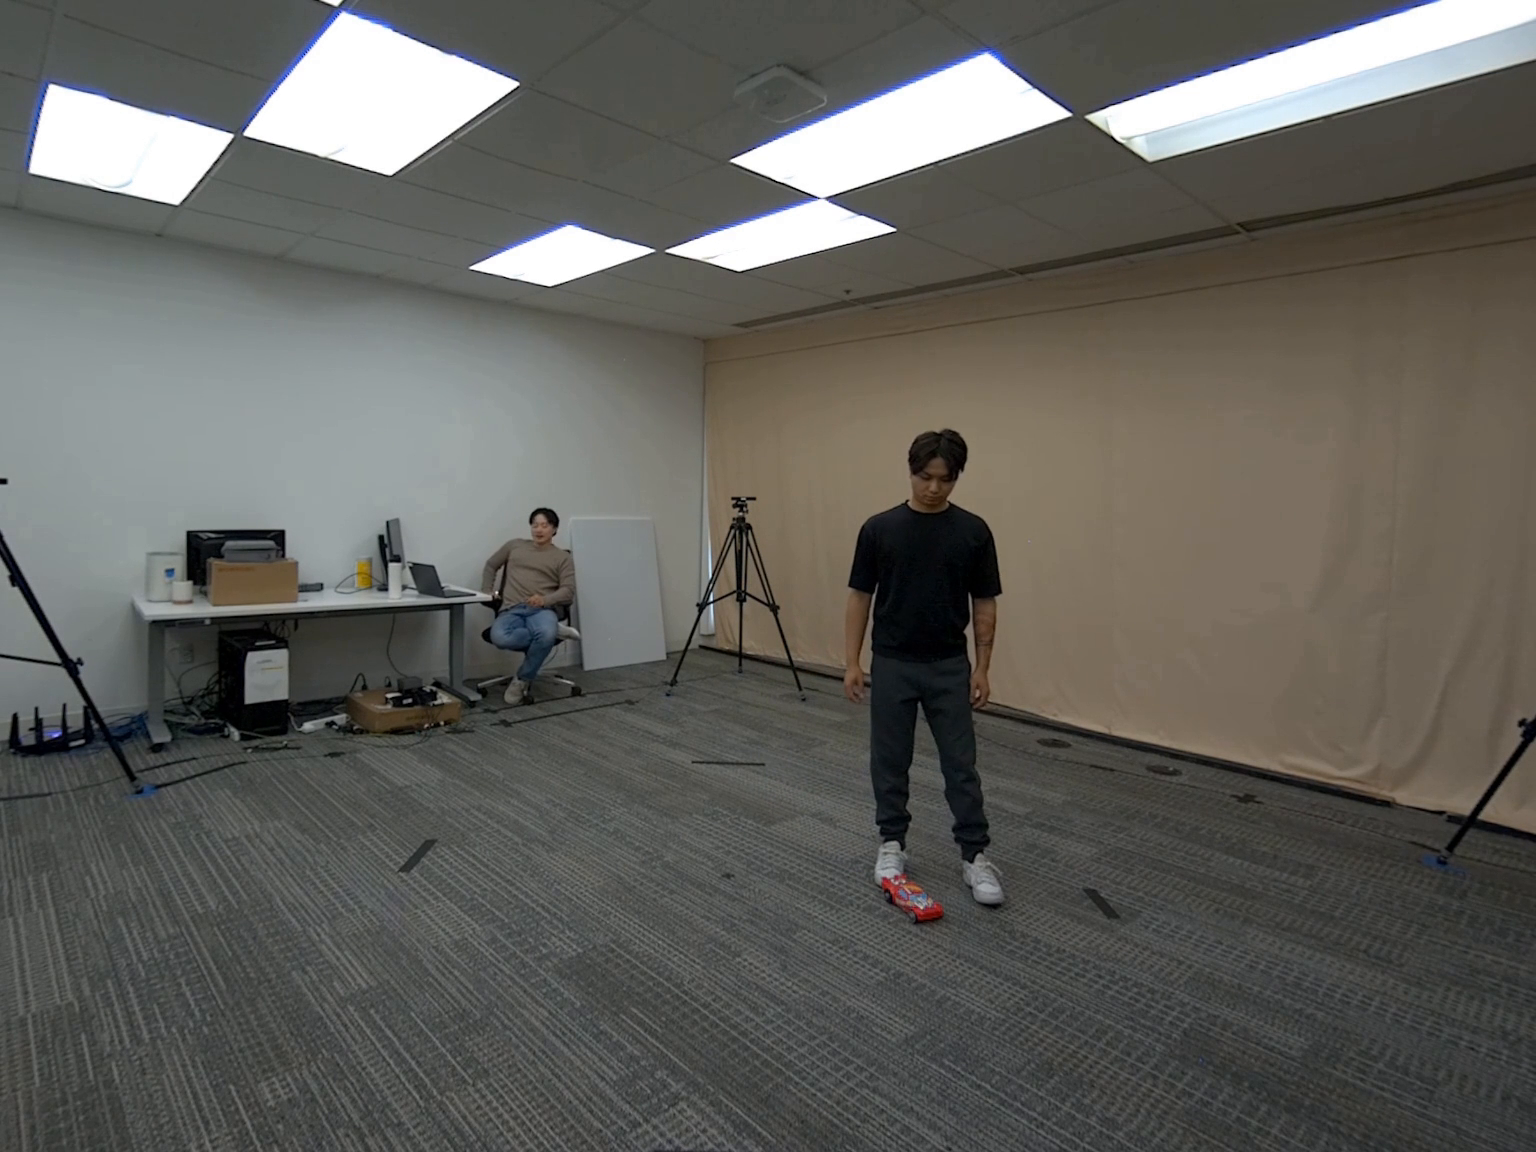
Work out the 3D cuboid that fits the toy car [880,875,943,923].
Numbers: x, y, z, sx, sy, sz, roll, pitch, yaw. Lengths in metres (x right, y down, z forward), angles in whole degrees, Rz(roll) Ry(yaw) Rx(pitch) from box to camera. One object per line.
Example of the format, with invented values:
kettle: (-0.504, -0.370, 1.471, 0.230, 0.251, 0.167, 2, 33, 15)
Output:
toy car: (0.483, 1.111, 2.897, 0.128, 0.082, 0.261, -1, 17, -24)
